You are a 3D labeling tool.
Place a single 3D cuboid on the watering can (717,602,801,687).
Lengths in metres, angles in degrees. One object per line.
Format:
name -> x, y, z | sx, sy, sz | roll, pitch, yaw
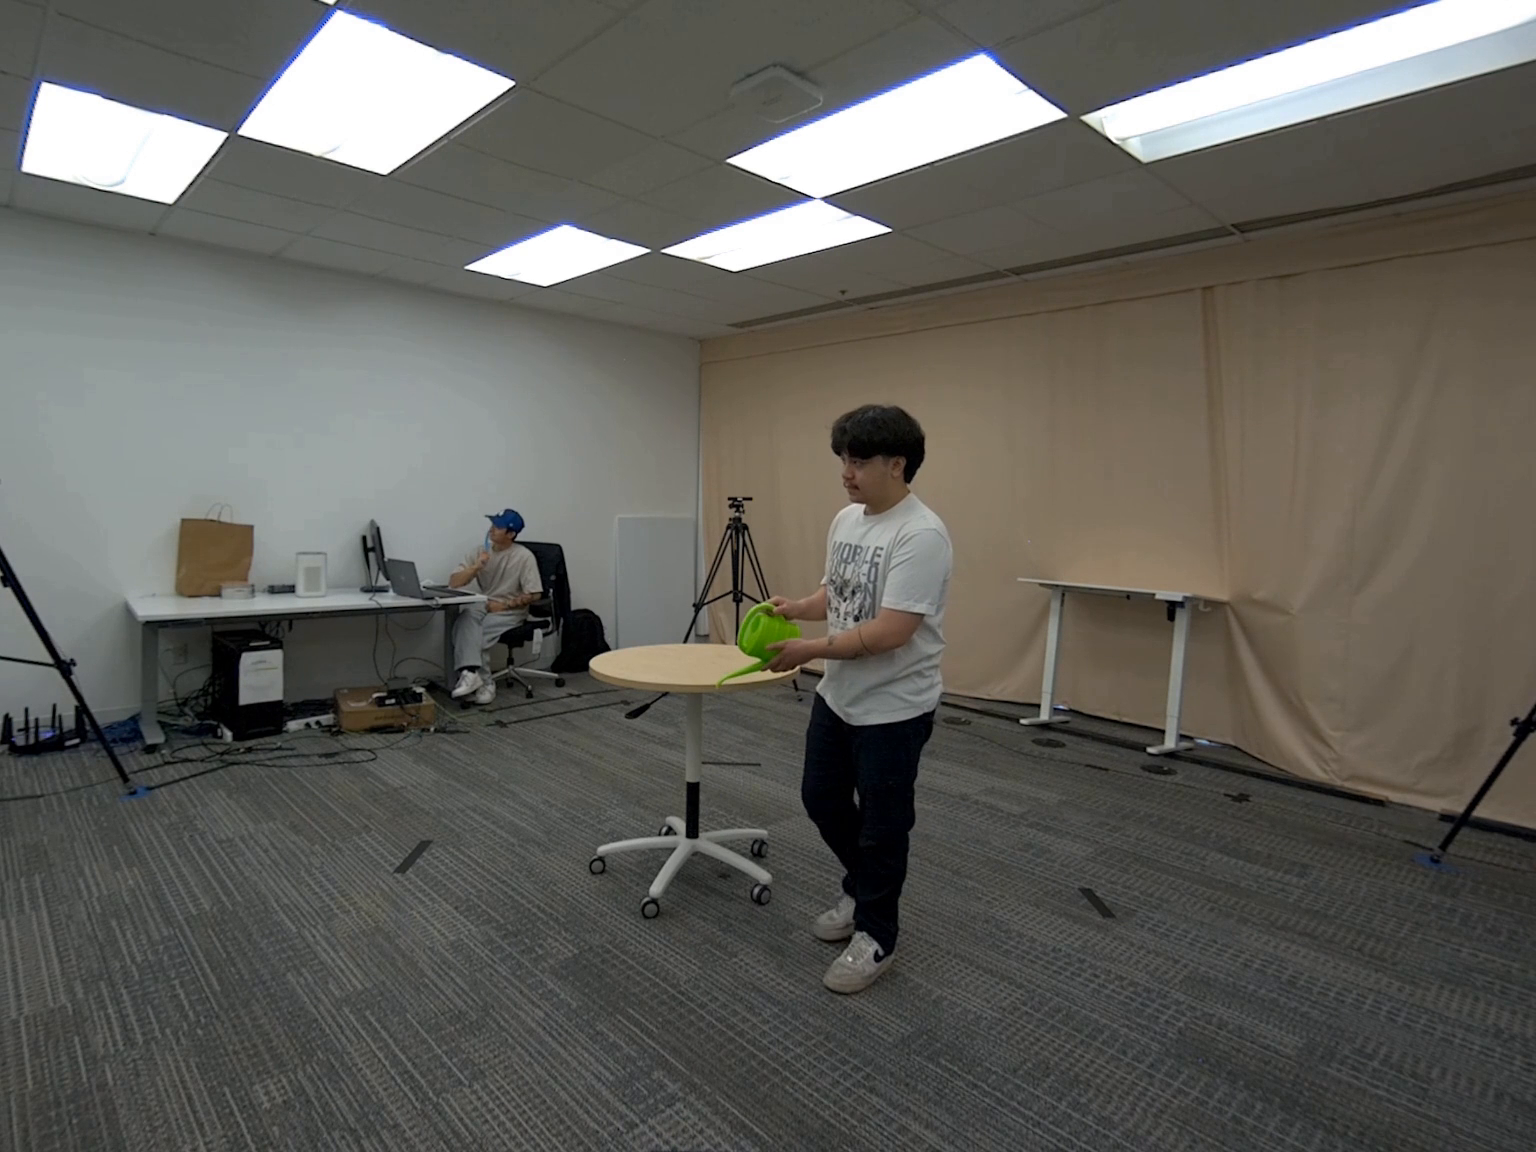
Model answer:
watering can -> -0.031, 0.214, 2.461 | 0.173, 0.277, 0.100 | 23, 14, -21
